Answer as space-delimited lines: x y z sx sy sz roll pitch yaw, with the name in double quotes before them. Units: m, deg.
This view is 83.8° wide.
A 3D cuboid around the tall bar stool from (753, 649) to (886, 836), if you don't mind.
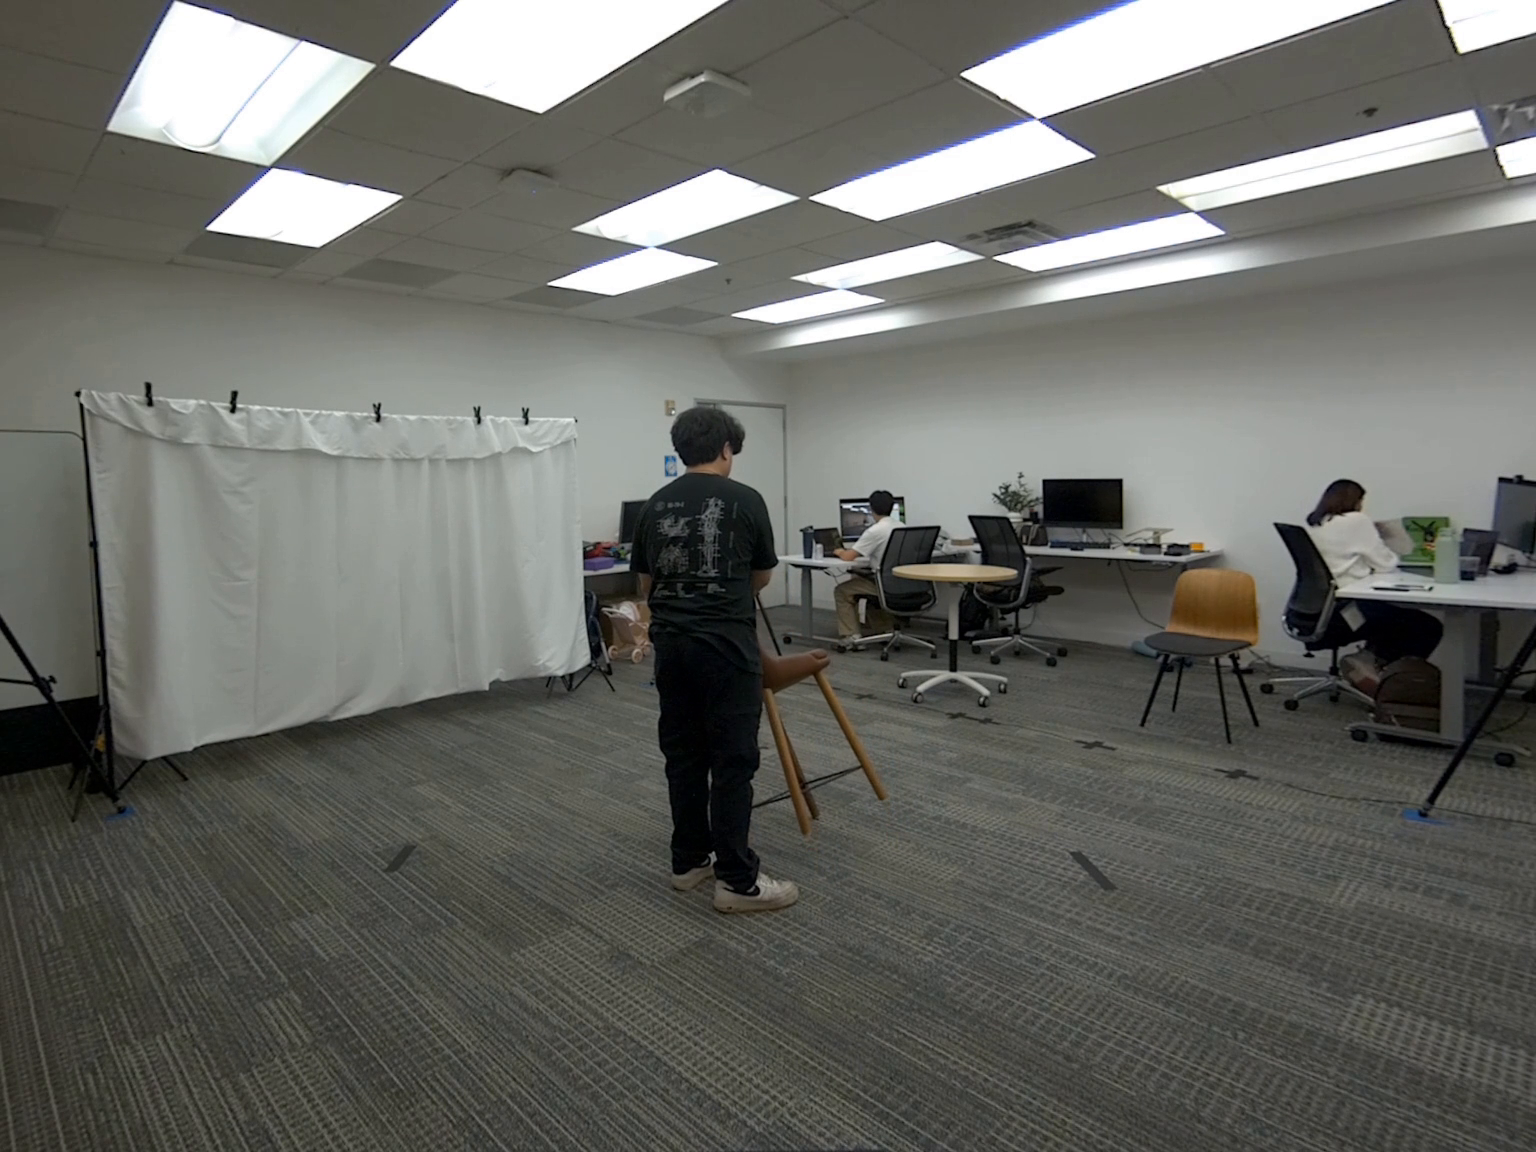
"tall bar stool" 0.021 0.542 3.337 0.456 0.904 0.461 -9 -17 -44
